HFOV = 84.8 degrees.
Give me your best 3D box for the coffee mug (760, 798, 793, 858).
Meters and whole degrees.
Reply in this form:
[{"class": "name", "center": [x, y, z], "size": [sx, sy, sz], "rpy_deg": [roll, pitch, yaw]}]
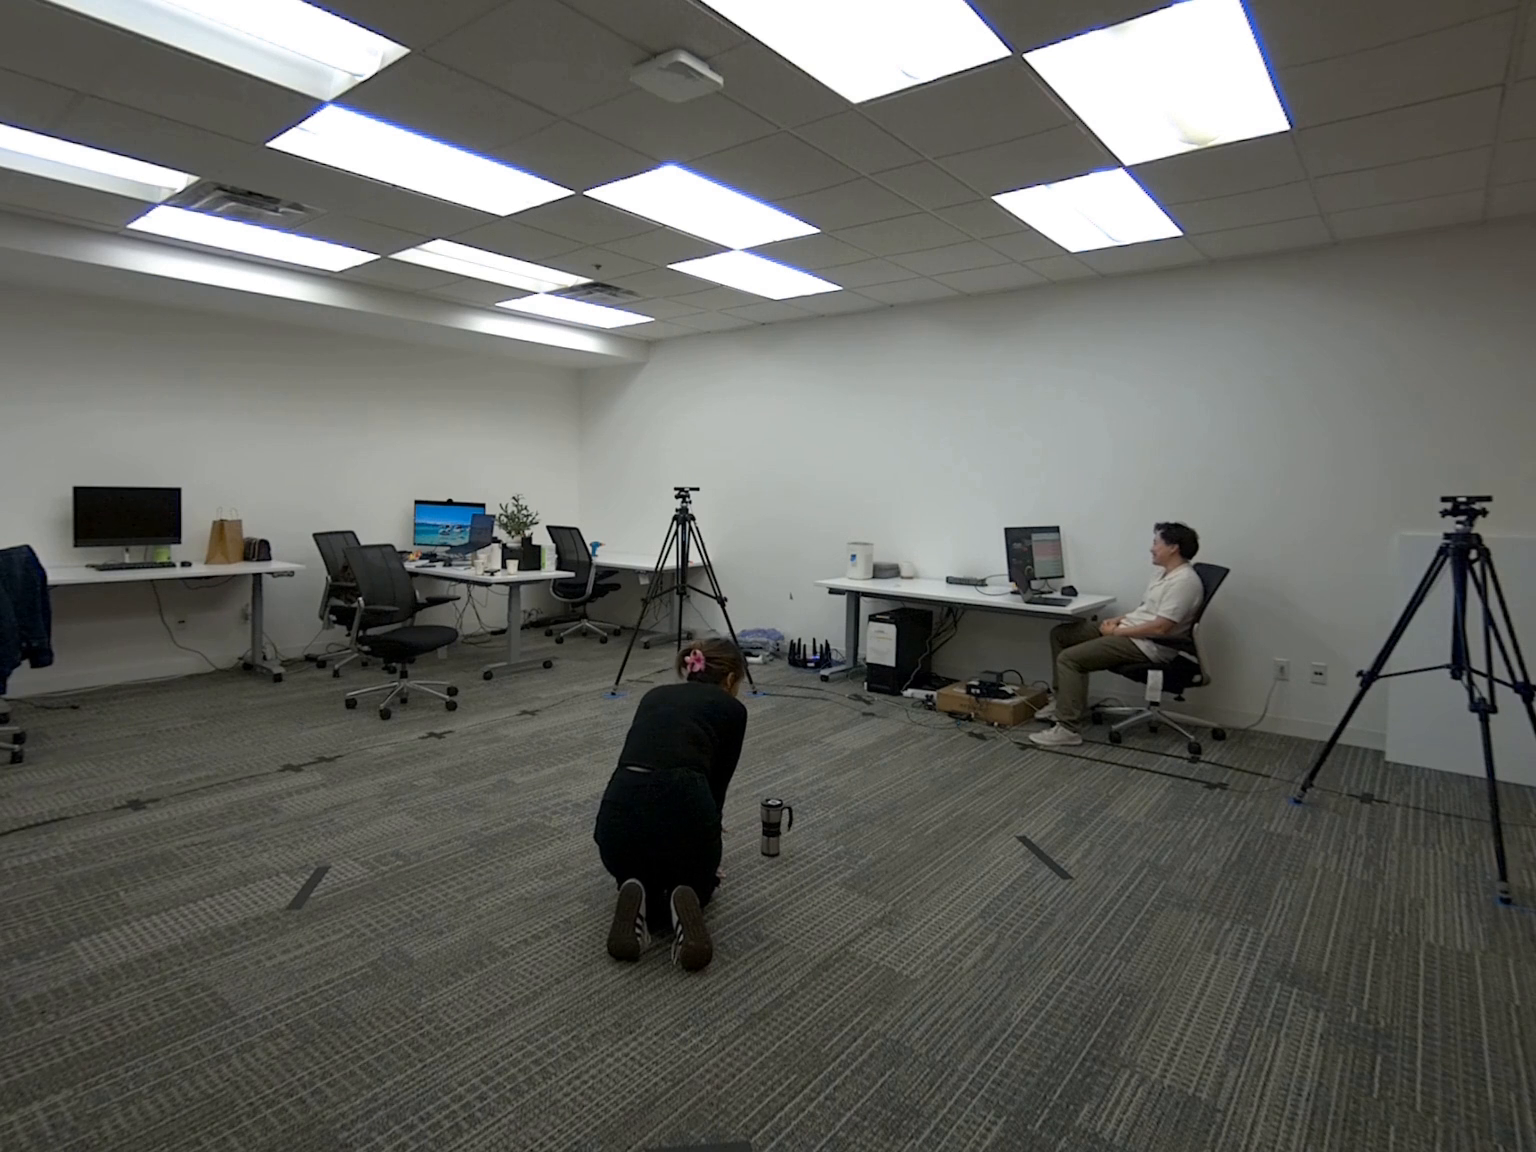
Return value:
[{"class": "coffee mug", "center": [0.025, 0.957, 3.237], "size": [0.125, 0.203, 0.086], "rpy_deg": [-2, -1, 23]}]
